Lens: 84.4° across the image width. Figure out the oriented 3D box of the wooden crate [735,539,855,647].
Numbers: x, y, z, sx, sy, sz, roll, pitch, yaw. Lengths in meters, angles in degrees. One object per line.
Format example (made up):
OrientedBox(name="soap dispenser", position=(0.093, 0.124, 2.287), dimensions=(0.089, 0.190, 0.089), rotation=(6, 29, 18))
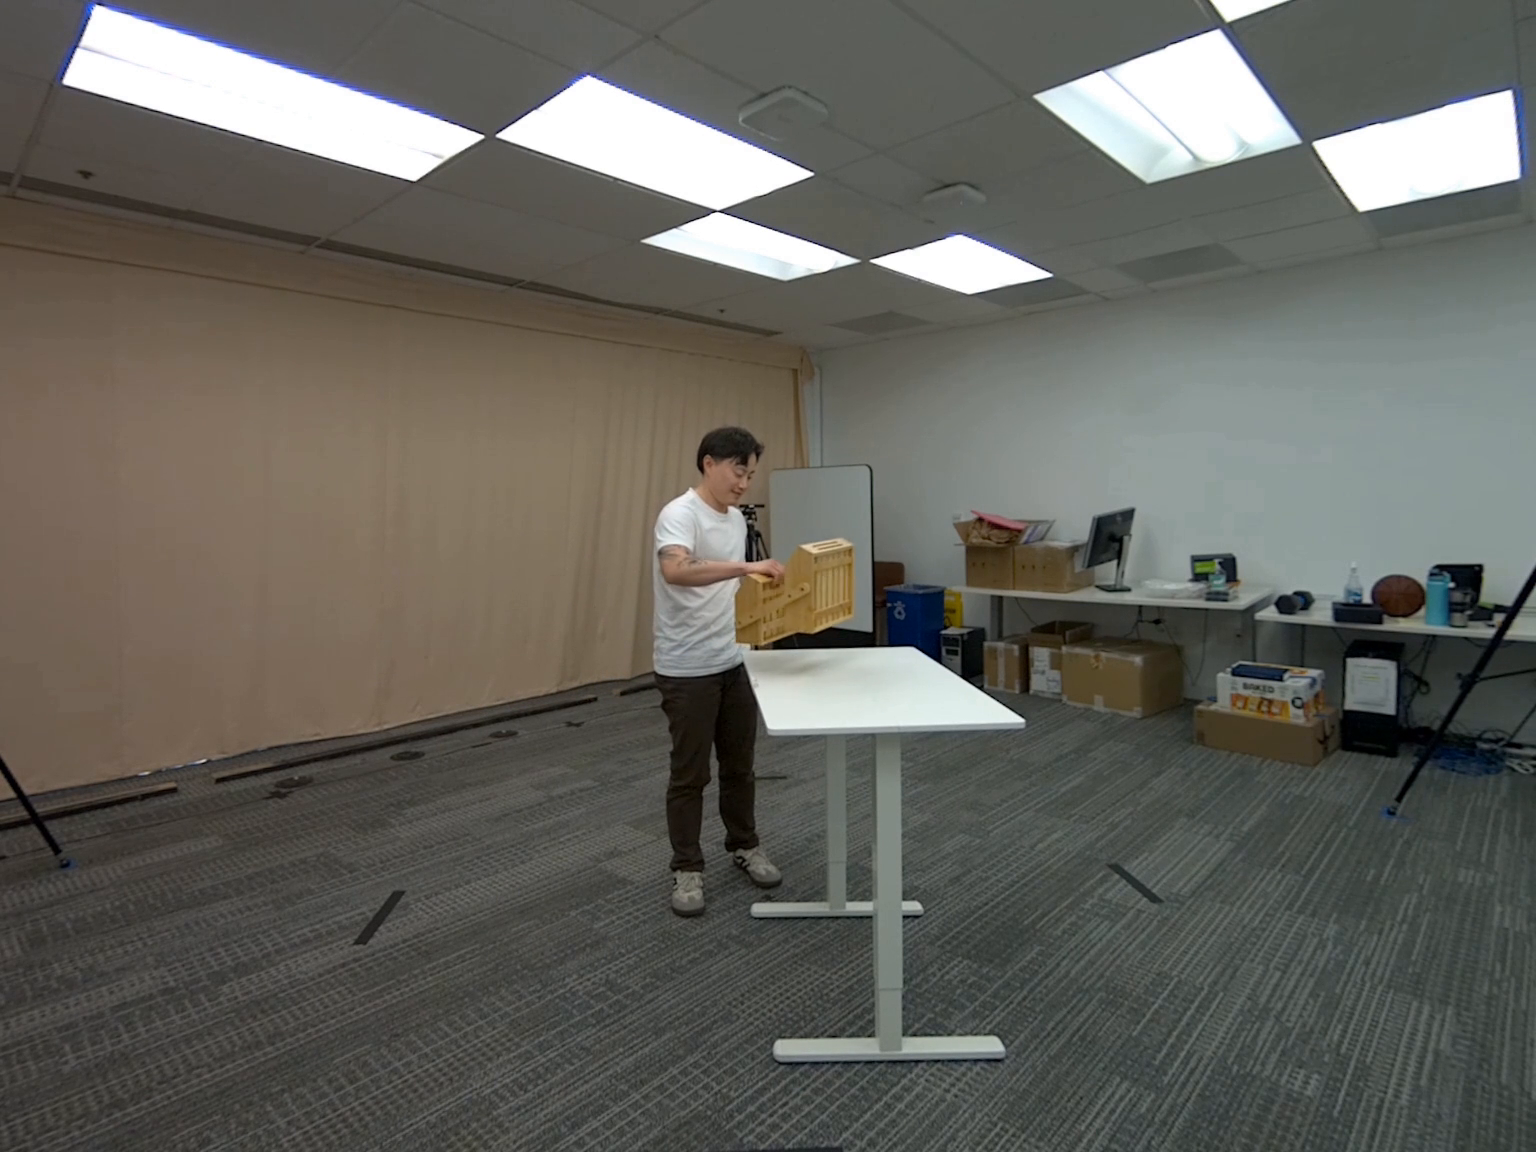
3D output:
OrientedBox(name="wooden crate", position=(0.084, 0.043, 2.588), dimensions=(0.281, 0.301, 0.316), rotation=(3, 7, 30))
